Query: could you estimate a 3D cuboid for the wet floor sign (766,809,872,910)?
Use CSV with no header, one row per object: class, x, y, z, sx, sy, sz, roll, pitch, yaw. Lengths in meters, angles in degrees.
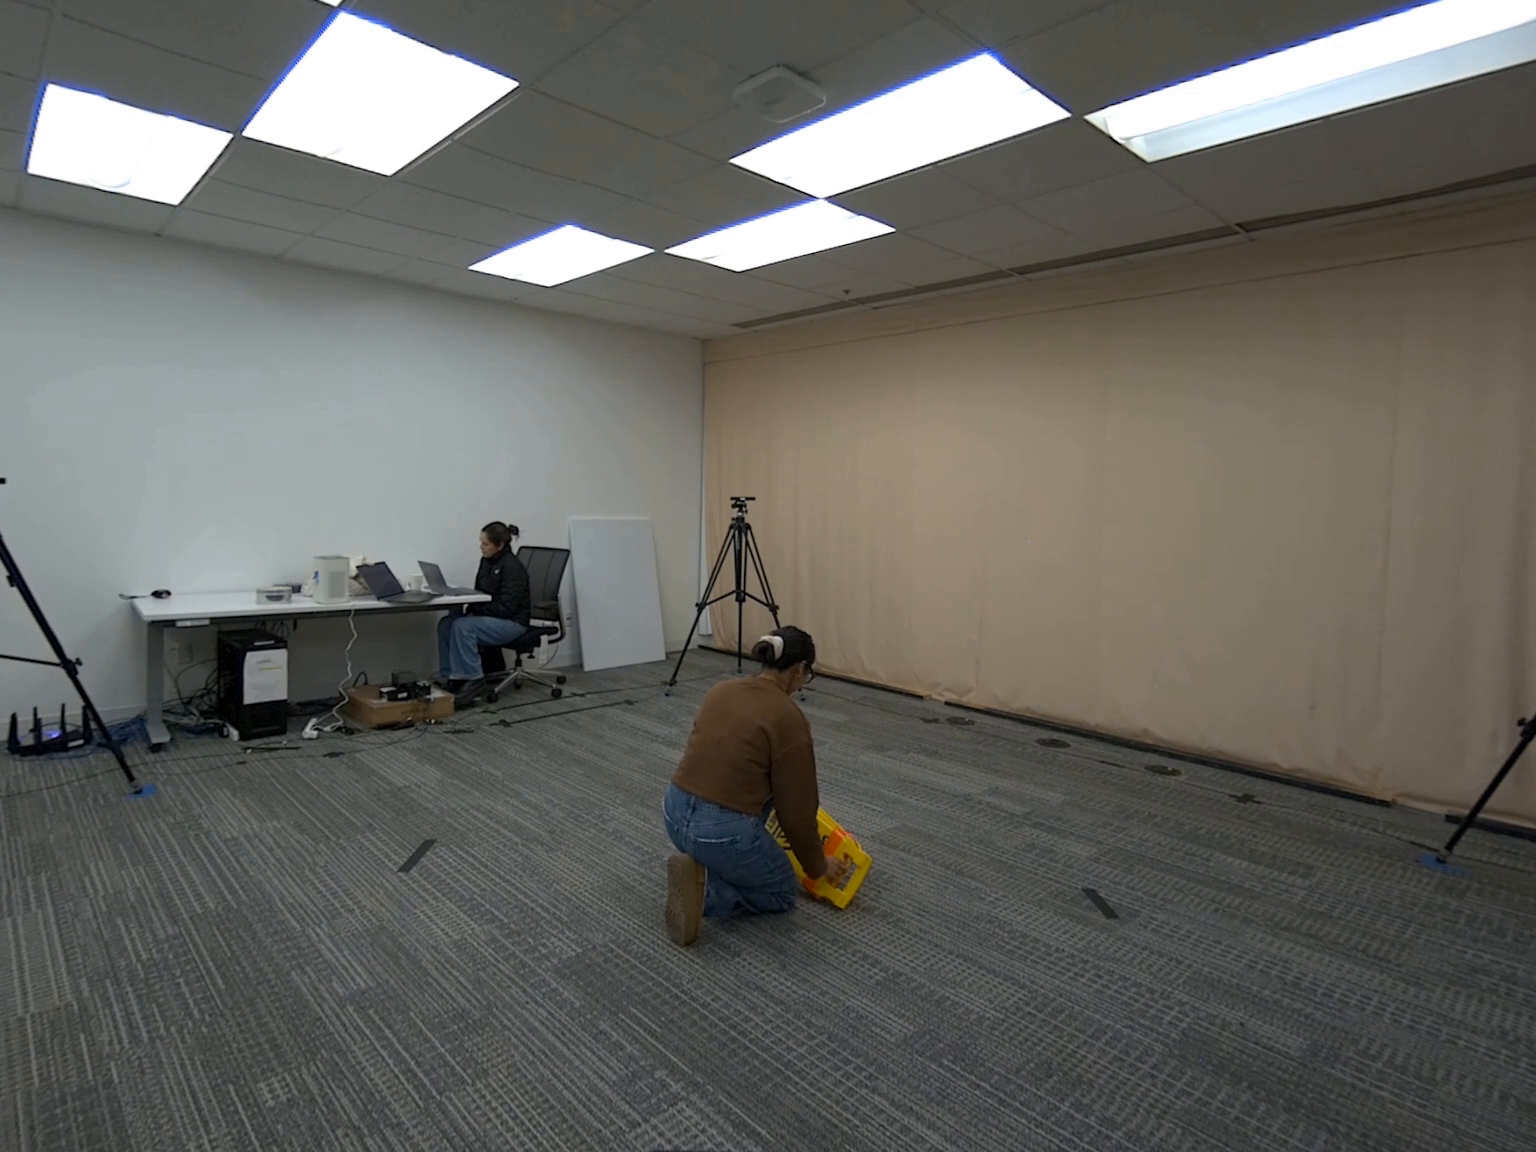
wet floor sign,0.114,0.977,3.122,0.281,0.282,0.665,41,-11,-36
